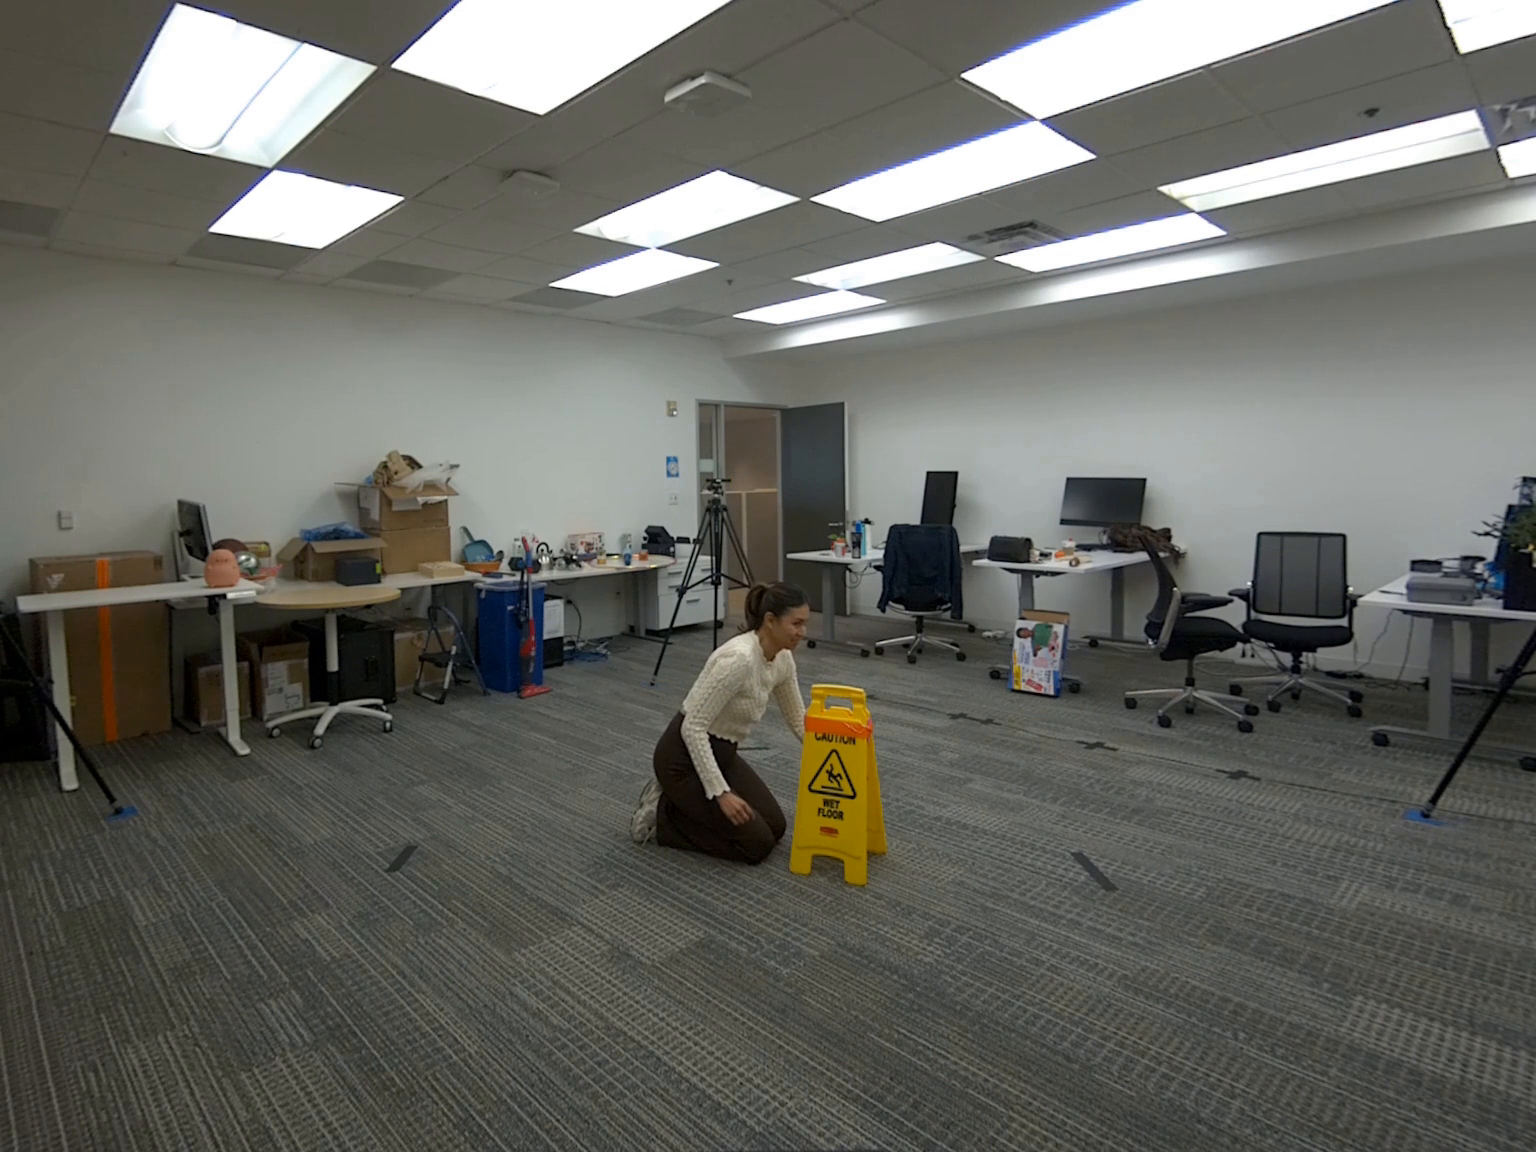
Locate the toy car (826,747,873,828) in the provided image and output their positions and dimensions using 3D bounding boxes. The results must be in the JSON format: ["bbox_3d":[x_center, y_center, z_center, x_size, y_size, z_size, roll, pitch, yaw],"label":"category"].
[{"bbox_3d":[0.302,0.787,3.204,0.133,0.252,0.082,9,14,21],"label":"toy car"}]
